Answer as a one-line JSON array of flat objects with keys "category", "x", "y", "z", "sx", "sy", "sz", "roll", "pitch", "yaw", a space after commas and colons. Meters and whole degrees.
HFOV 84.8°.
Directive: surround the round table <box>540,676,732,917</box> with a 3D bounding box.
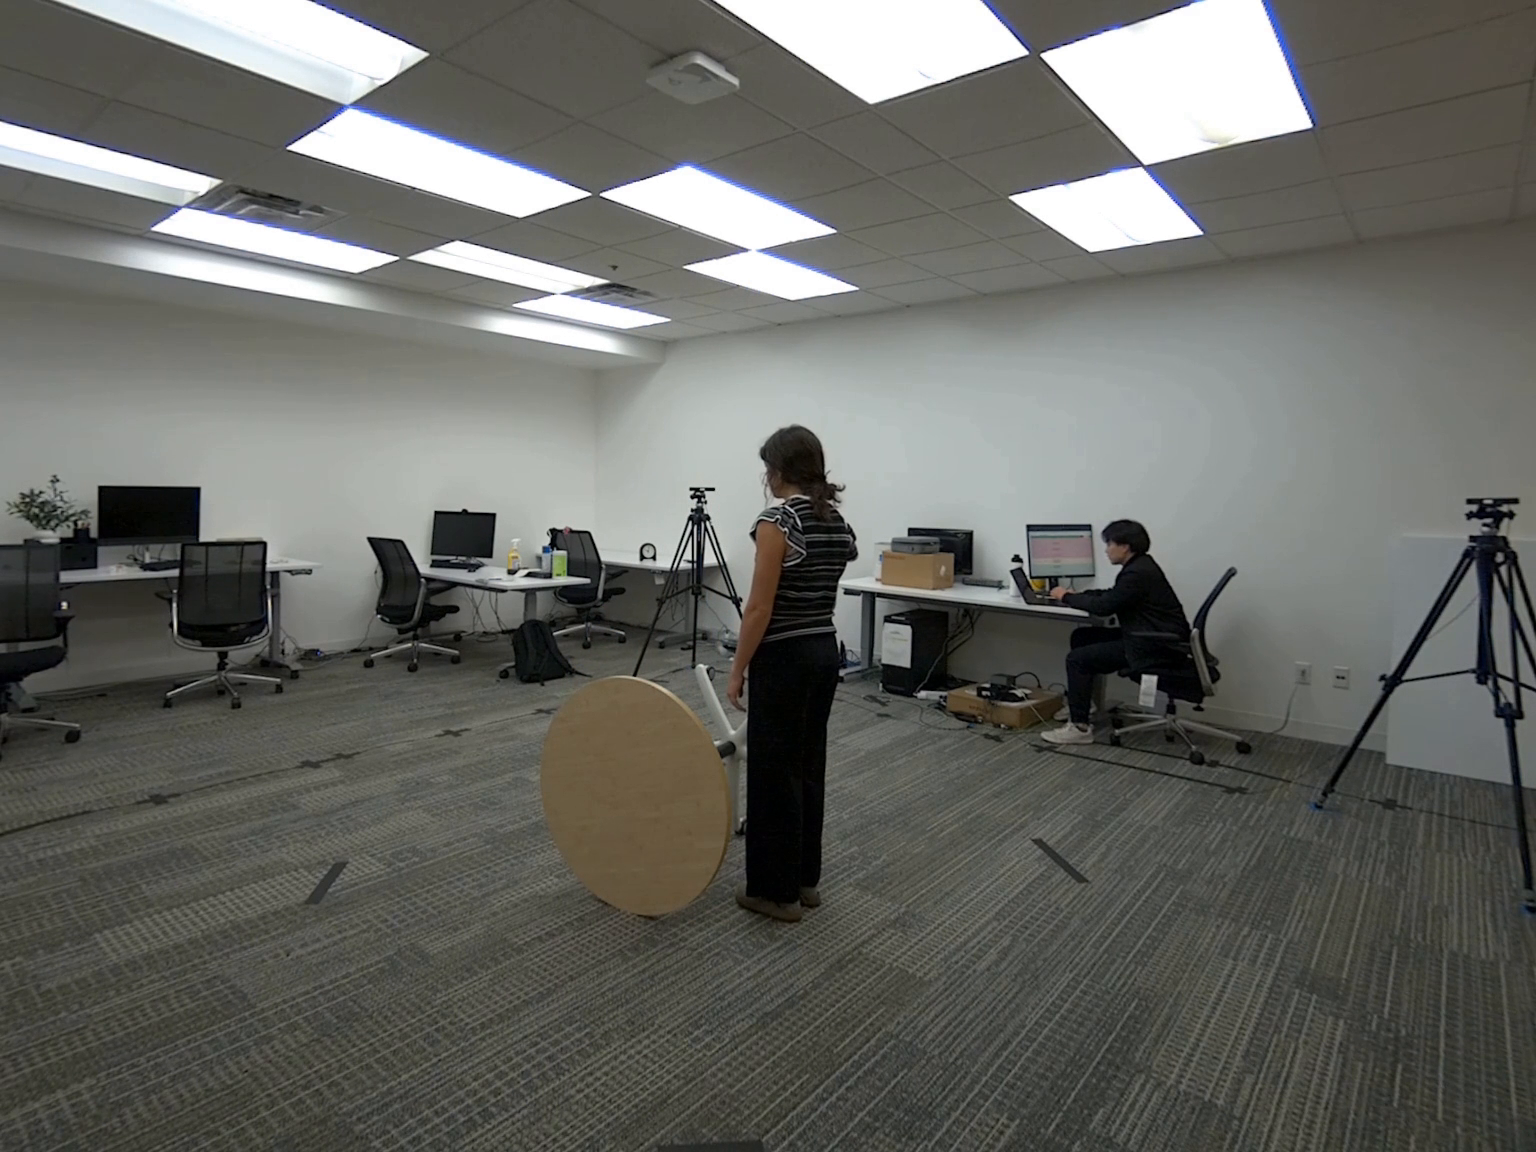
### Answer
[{"category": "round table", "x": -0.286, "y": 0.693, "z": 3.105, "sx": 0.786, "sy": 0.762, "sz": 0.773, "roll": 3, "pitch": 3, "yaw": 30}]
